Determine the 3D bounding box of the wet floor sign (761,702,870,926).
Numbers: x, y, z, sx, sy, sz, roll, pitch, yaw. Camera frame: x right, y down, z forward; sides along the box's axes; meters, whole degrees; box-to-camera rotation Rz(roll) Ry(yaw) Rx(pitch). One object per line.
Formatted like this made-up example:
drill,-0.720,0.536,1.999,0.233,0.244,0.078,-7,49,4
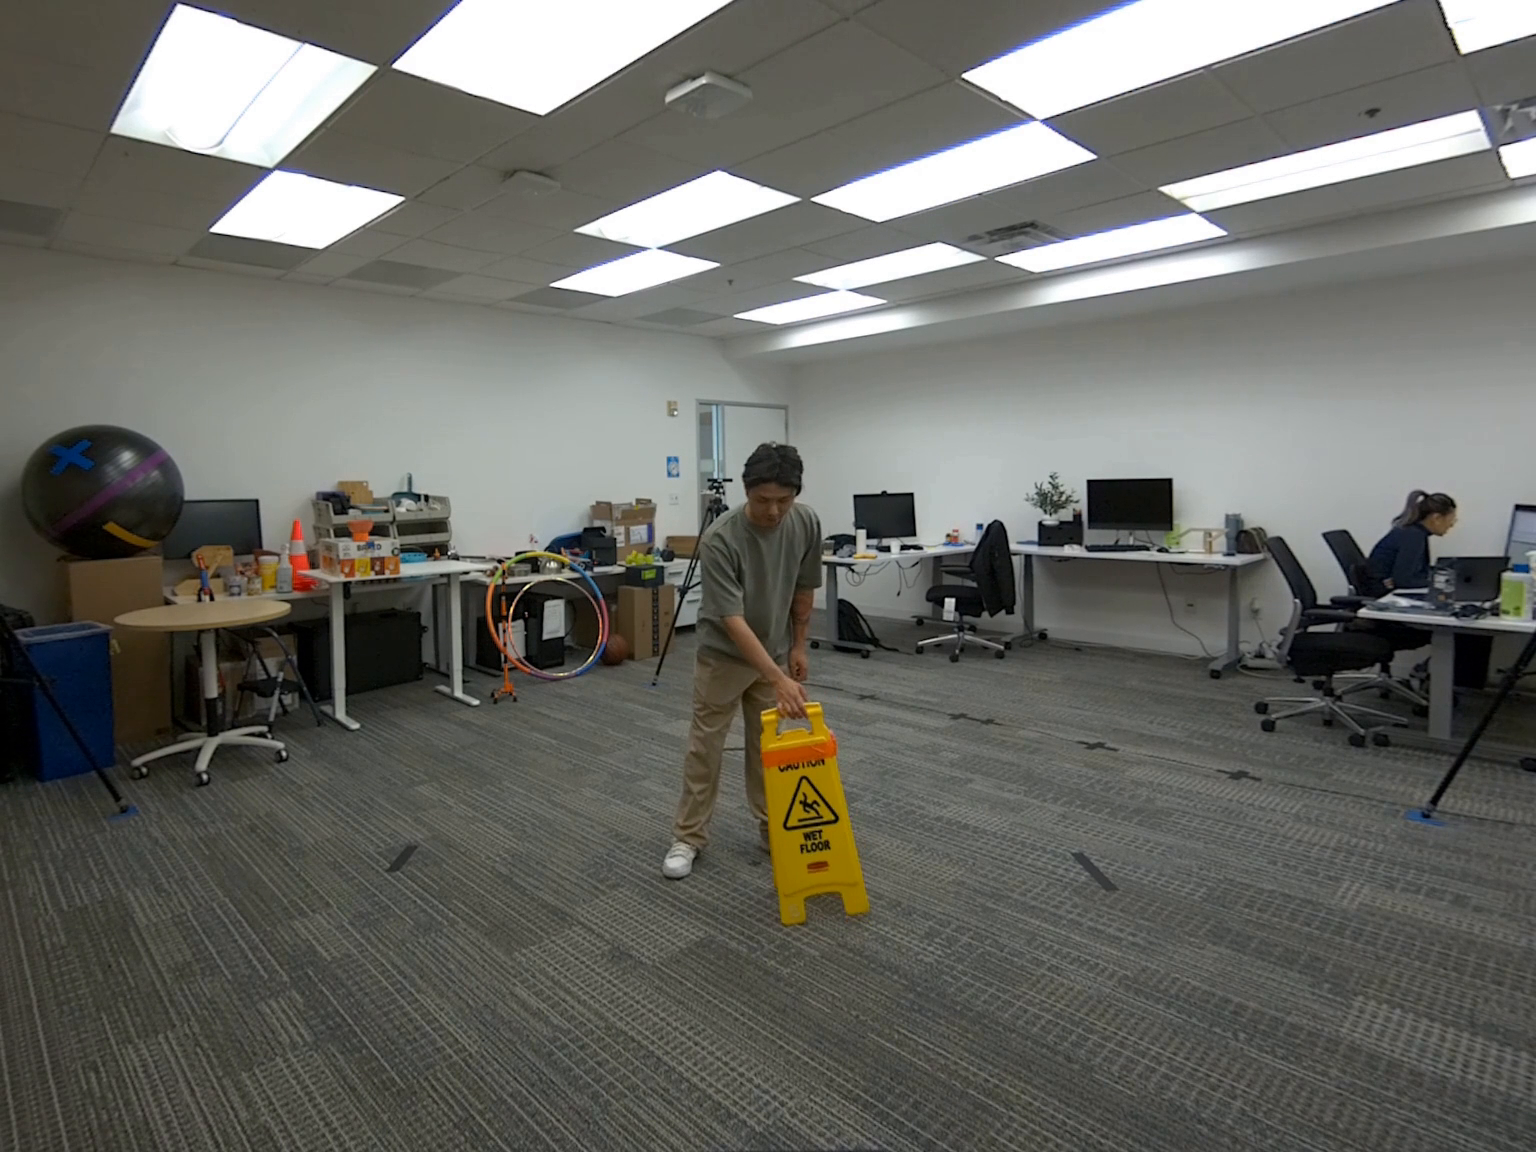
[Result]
wet floor sign,0.118,0.744,2.781,0.282,0.643,0.292,-8,5,-2
